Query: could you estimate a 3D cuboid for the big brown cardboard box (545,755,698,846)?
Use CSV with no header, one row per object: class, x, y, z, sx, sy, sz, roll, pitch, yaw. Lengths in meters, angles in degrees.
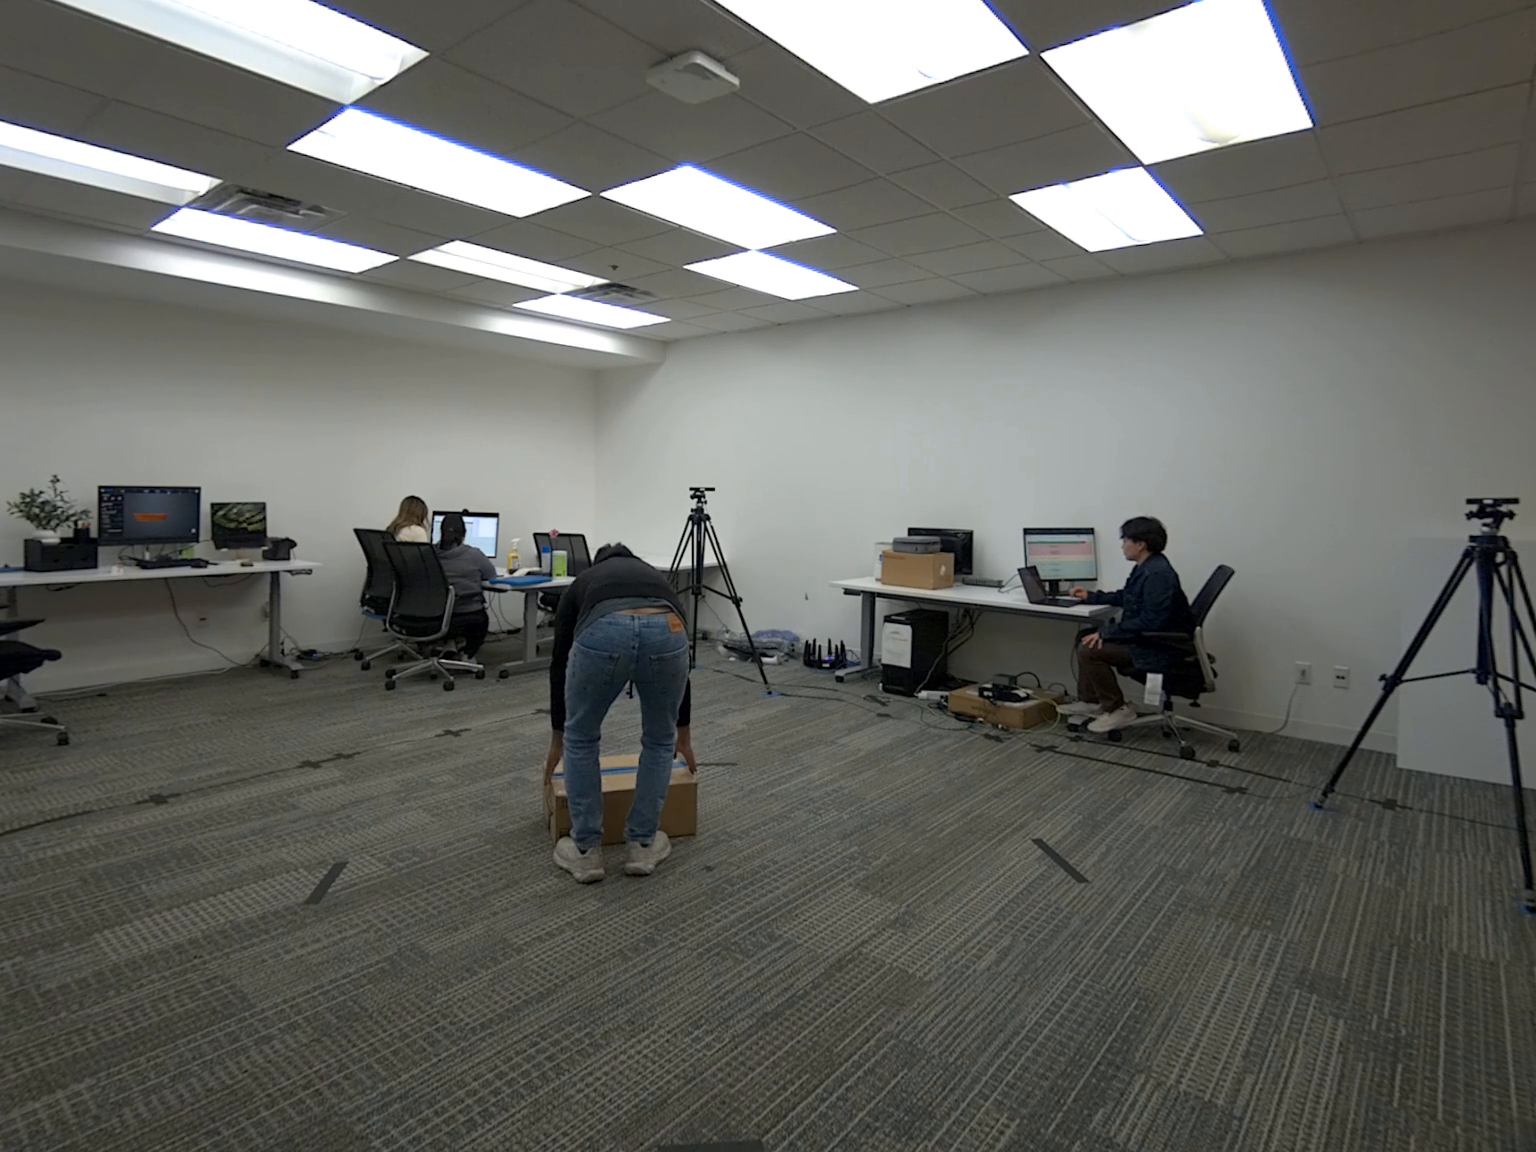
big brown cardboard box,-0.634,0.905,3.511,0.577,0.232,0.428,0,5,-20
